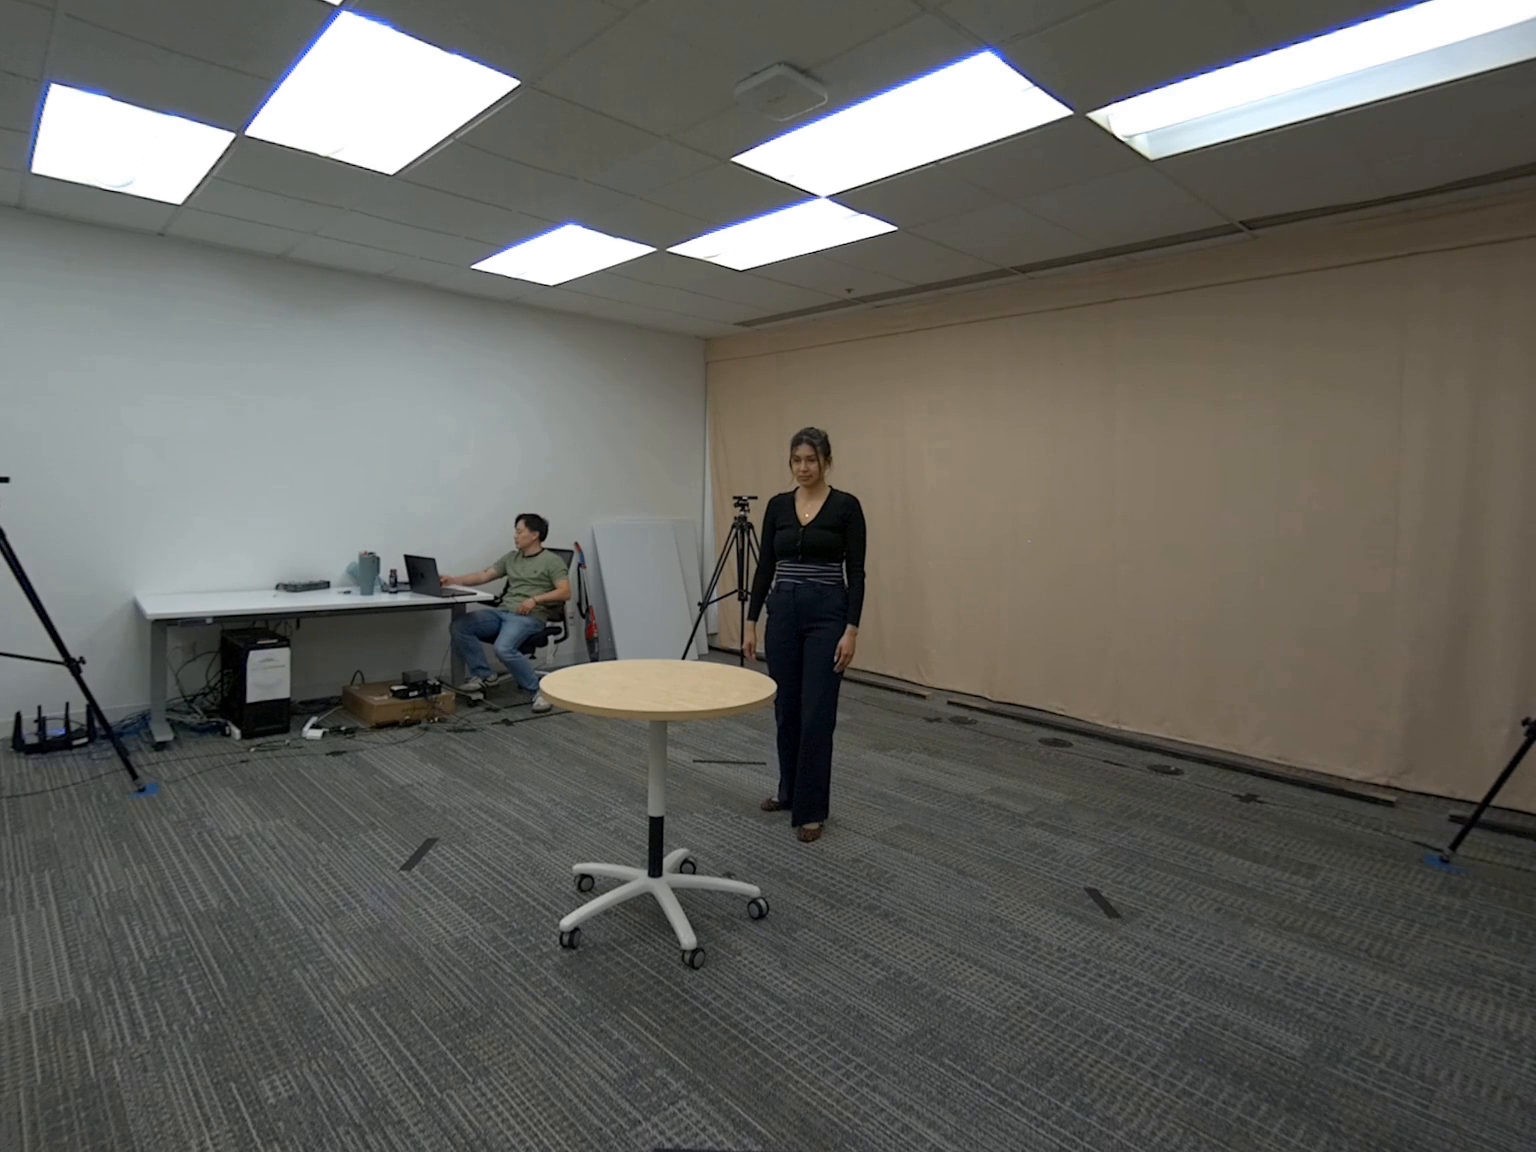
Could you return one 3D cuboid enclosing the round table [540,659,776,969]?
[{"bbox_3d":[-0.370,0.742,2.754,0.763,0.792,0.766,1,4,-1],"label":"round table"}]
